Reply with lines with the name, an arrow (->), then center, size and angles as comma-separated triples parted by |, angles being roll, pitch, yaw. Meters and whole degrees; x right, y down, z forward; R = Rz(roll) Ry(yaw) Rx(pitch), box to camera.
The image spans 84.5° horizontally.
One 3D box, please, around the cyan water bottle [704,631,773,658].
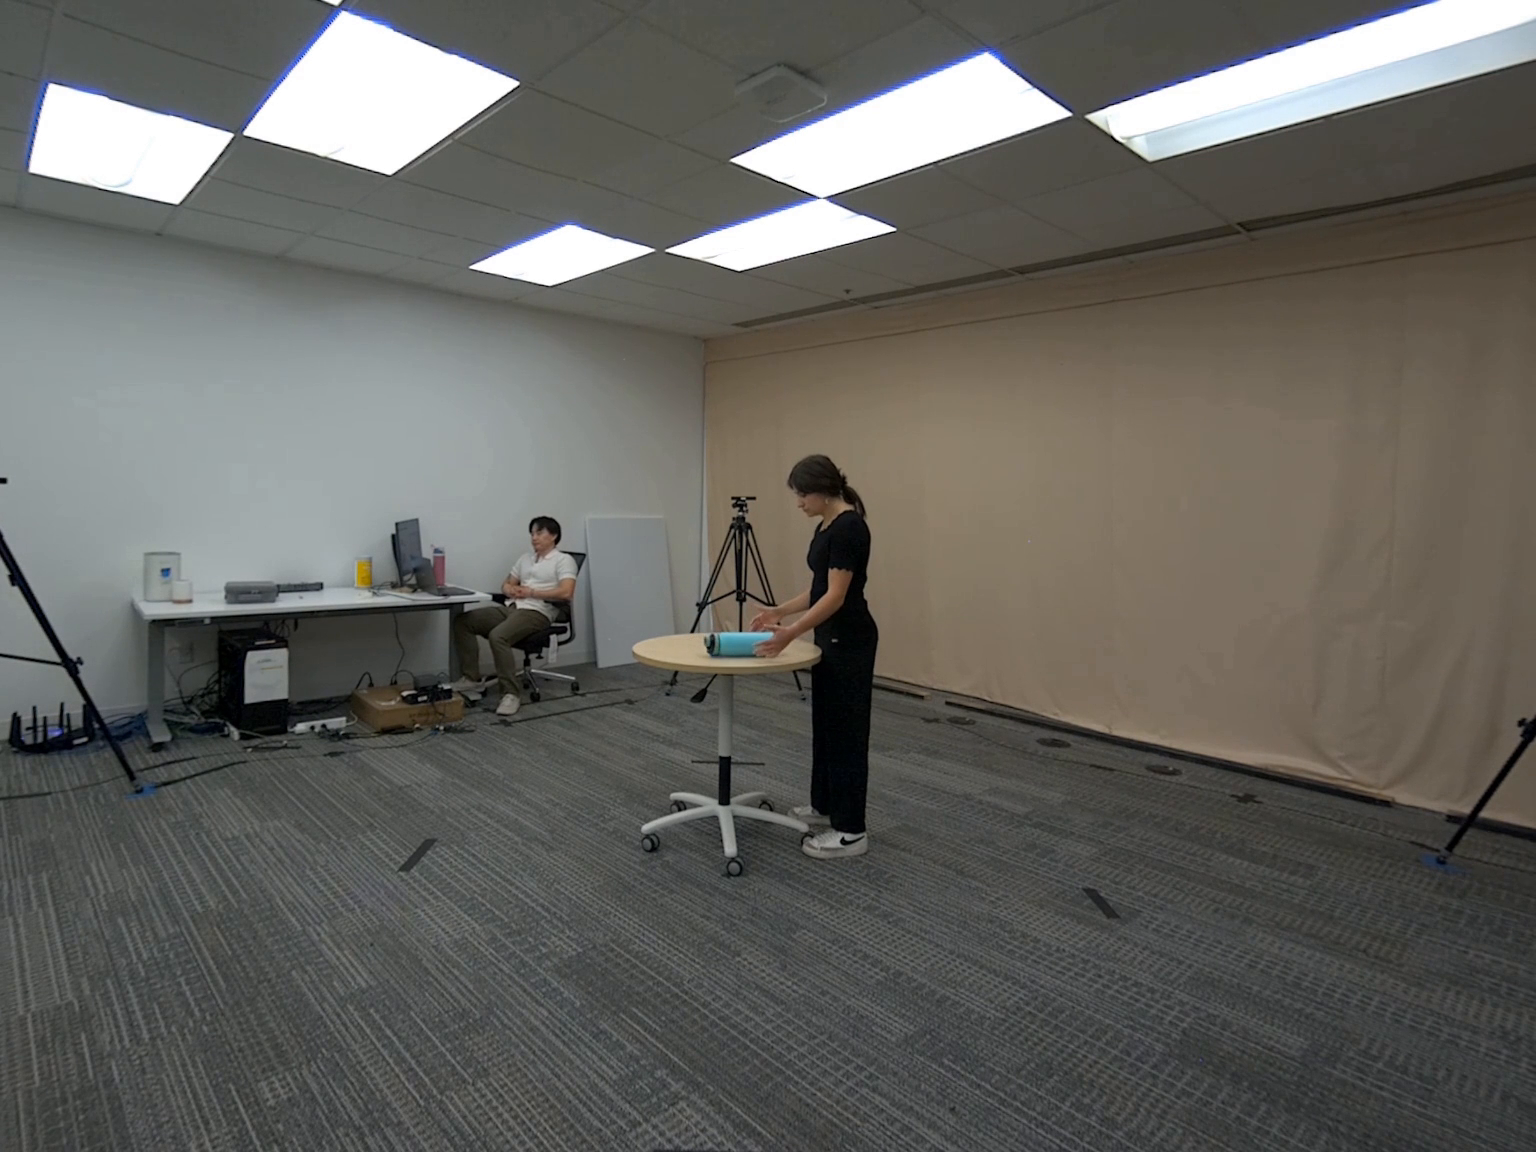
cyan water bottle -> -0.115, 0.261, 3.233 | 0.280, 0.092, 0.093 | 0, 4, -13
